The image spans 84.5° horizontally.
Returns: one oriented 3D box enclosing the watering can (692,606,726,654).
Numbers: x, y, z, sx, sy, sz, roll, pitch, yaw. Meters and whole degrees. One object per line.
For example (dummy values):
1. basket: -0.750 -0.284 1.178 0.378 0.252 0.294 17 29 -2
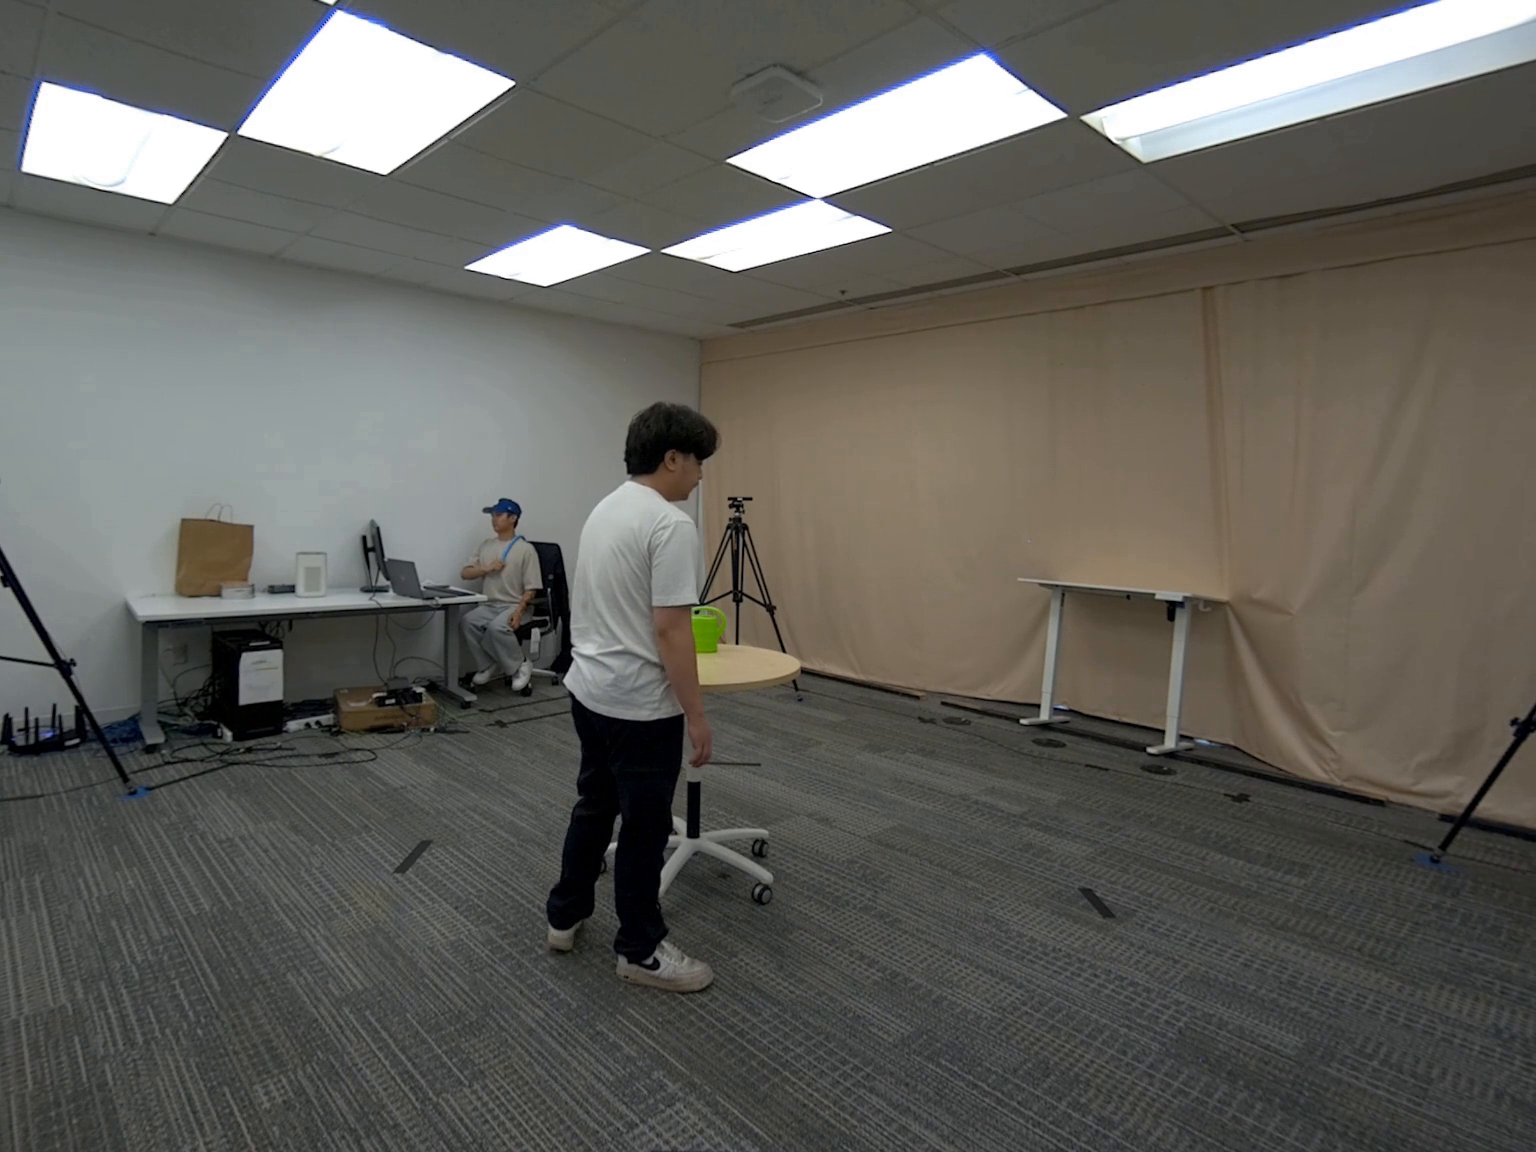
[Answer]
1. watering can: -0.316 0.211 3.306 0.284 0.177 0.096 2 1 26
